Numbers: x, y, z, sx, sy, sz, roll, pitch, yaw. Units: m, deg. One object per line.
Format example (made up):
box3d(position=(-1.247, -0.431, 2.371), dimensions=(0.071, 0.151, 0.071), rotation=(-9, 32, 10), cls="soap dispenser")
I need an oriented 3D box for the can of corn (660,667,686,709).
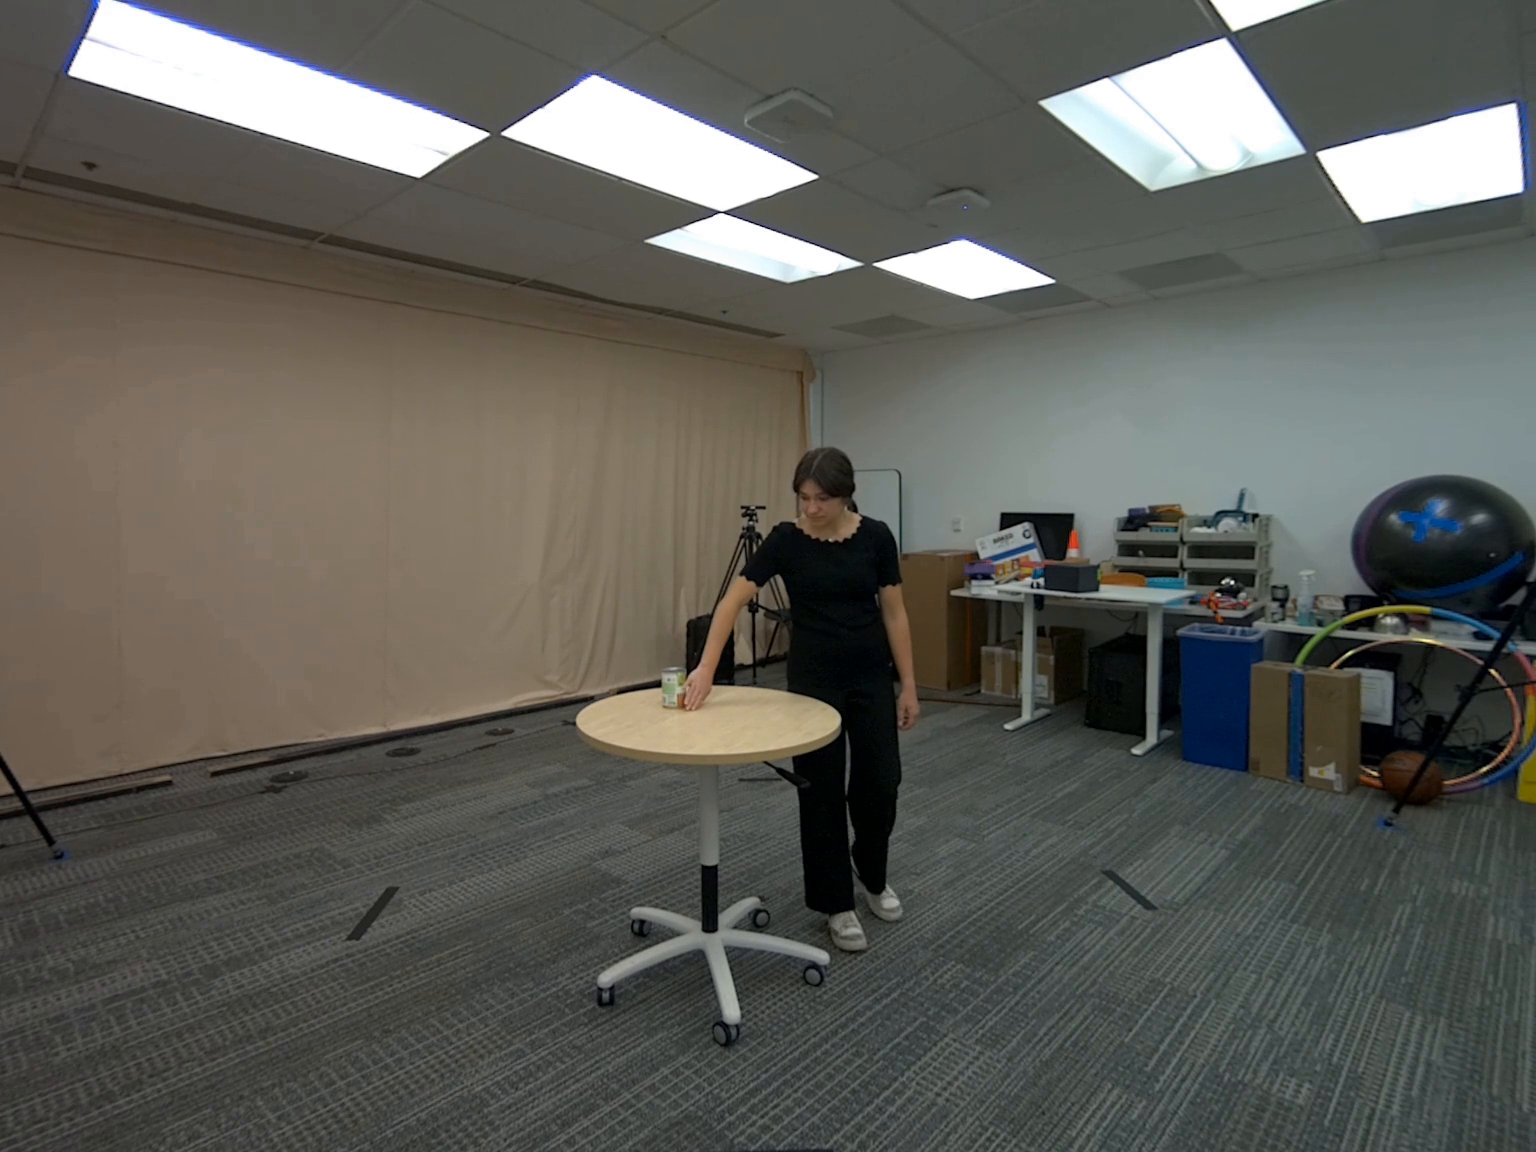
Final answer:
box3d(position=(-0.277, 0.343, 2.552), dimensions=(0.074, 0.111, 0.074), rotation=(-1, 3, -2), cls="can of corn")
